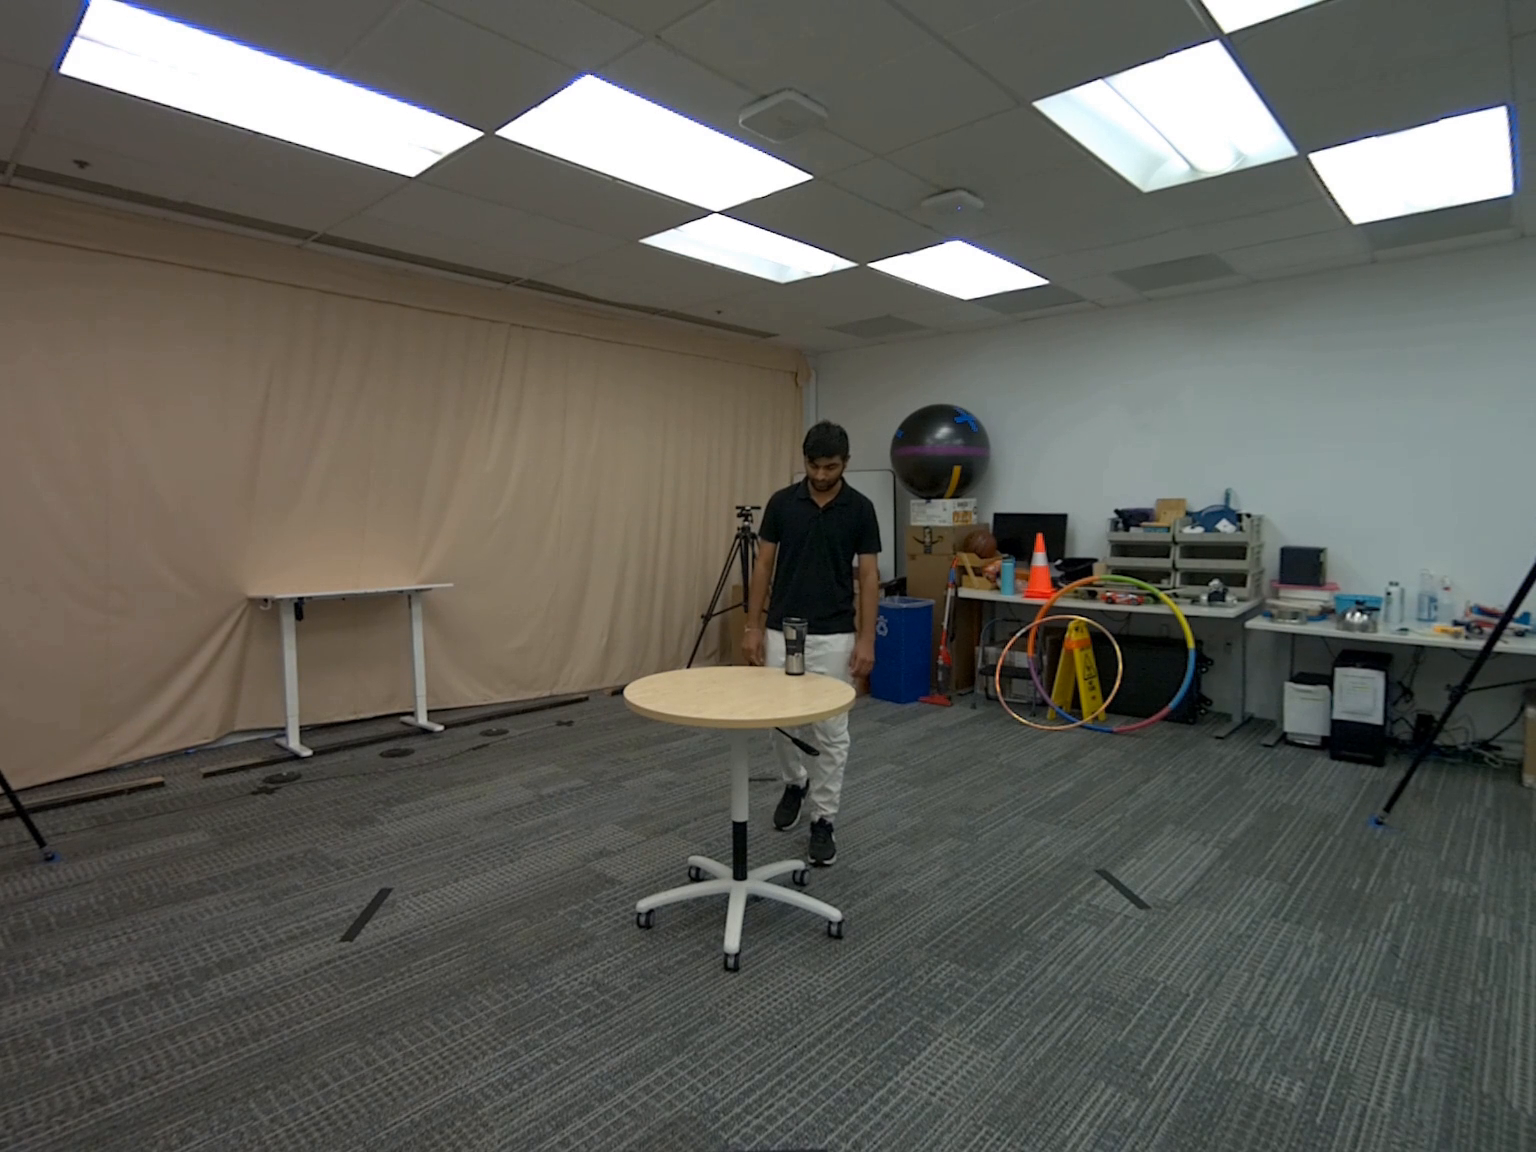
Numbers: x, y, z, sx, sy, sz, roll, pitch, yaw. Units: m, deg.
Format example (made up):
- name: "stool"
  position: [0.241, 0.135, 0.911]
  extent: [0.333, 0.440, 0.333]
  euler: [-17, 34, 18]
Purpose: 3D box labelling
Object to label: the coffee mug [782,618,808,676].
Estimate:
- name: "coffee mug"
  position: [0.103, 0.258, 3.019]
  extent: [0.089, 0.203, 0.121]
  euler: [4, 1, 8]
